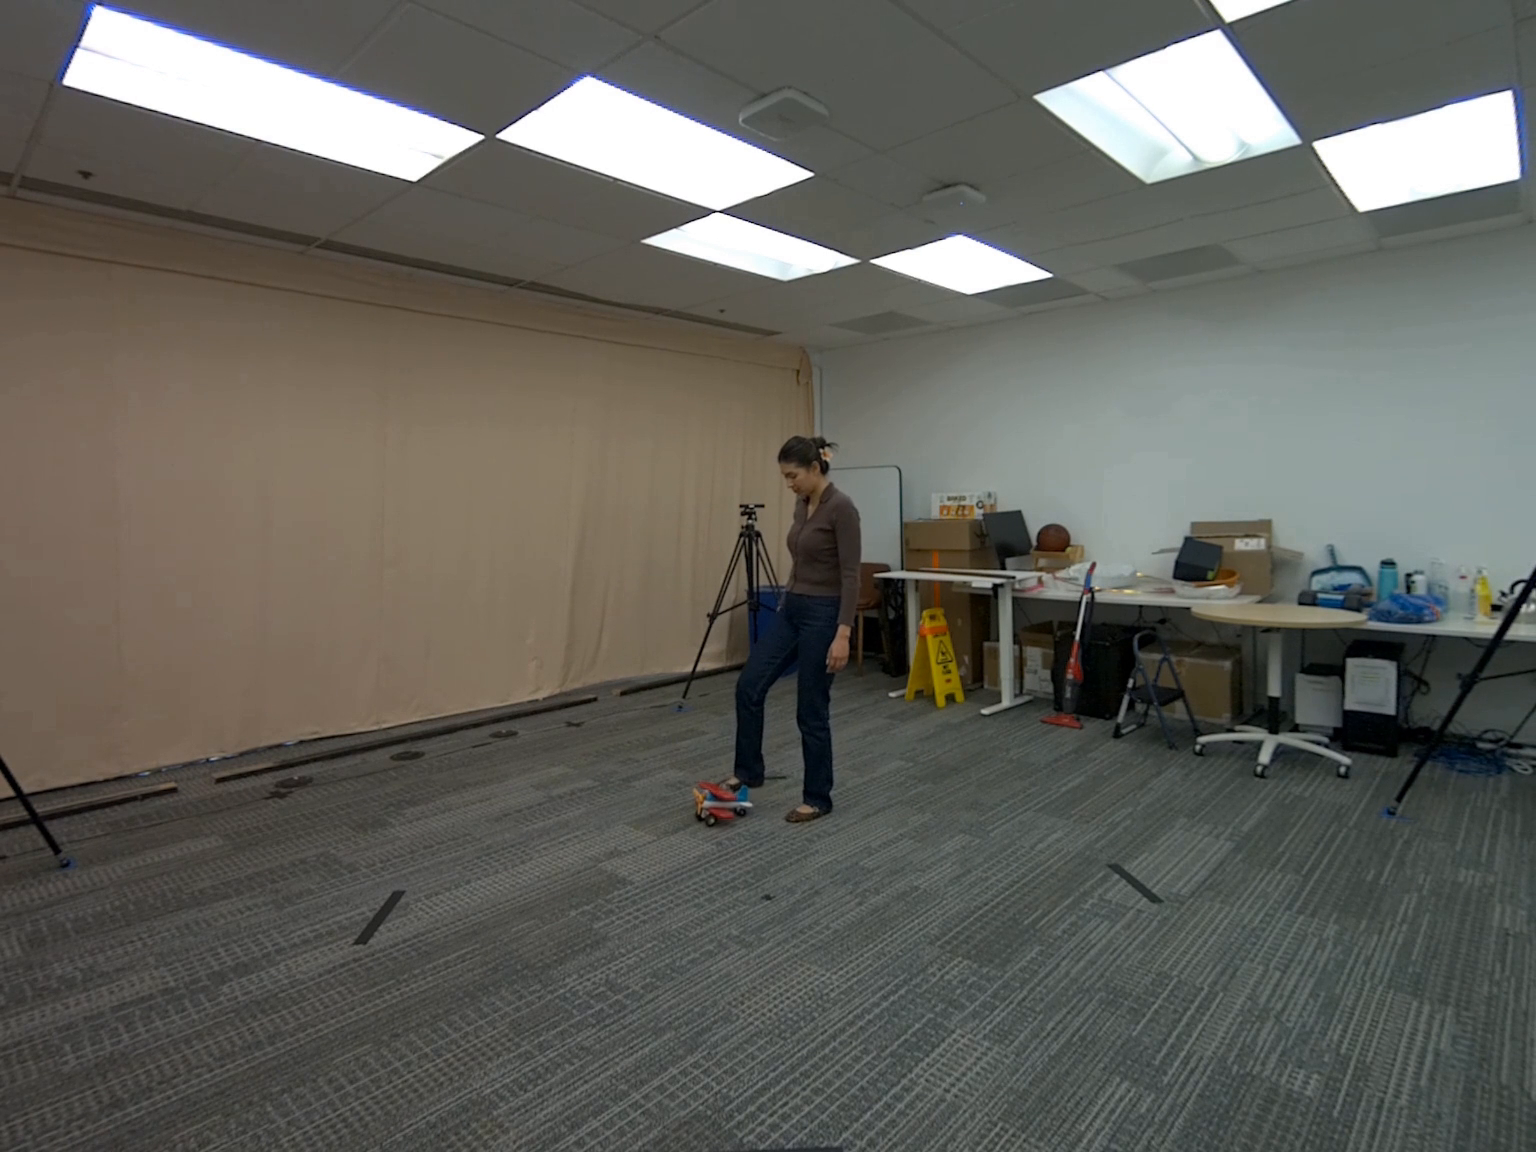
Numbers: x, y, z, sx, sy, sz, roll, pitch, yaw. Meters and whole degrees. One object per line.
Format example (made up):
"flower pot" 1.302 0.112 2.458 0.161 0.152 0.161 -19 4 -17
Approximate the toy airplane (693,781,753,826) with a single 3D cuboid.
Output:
"toy airplane" -0.212 1.006 3.746 0.258 0.156 0.253 0 5 30
